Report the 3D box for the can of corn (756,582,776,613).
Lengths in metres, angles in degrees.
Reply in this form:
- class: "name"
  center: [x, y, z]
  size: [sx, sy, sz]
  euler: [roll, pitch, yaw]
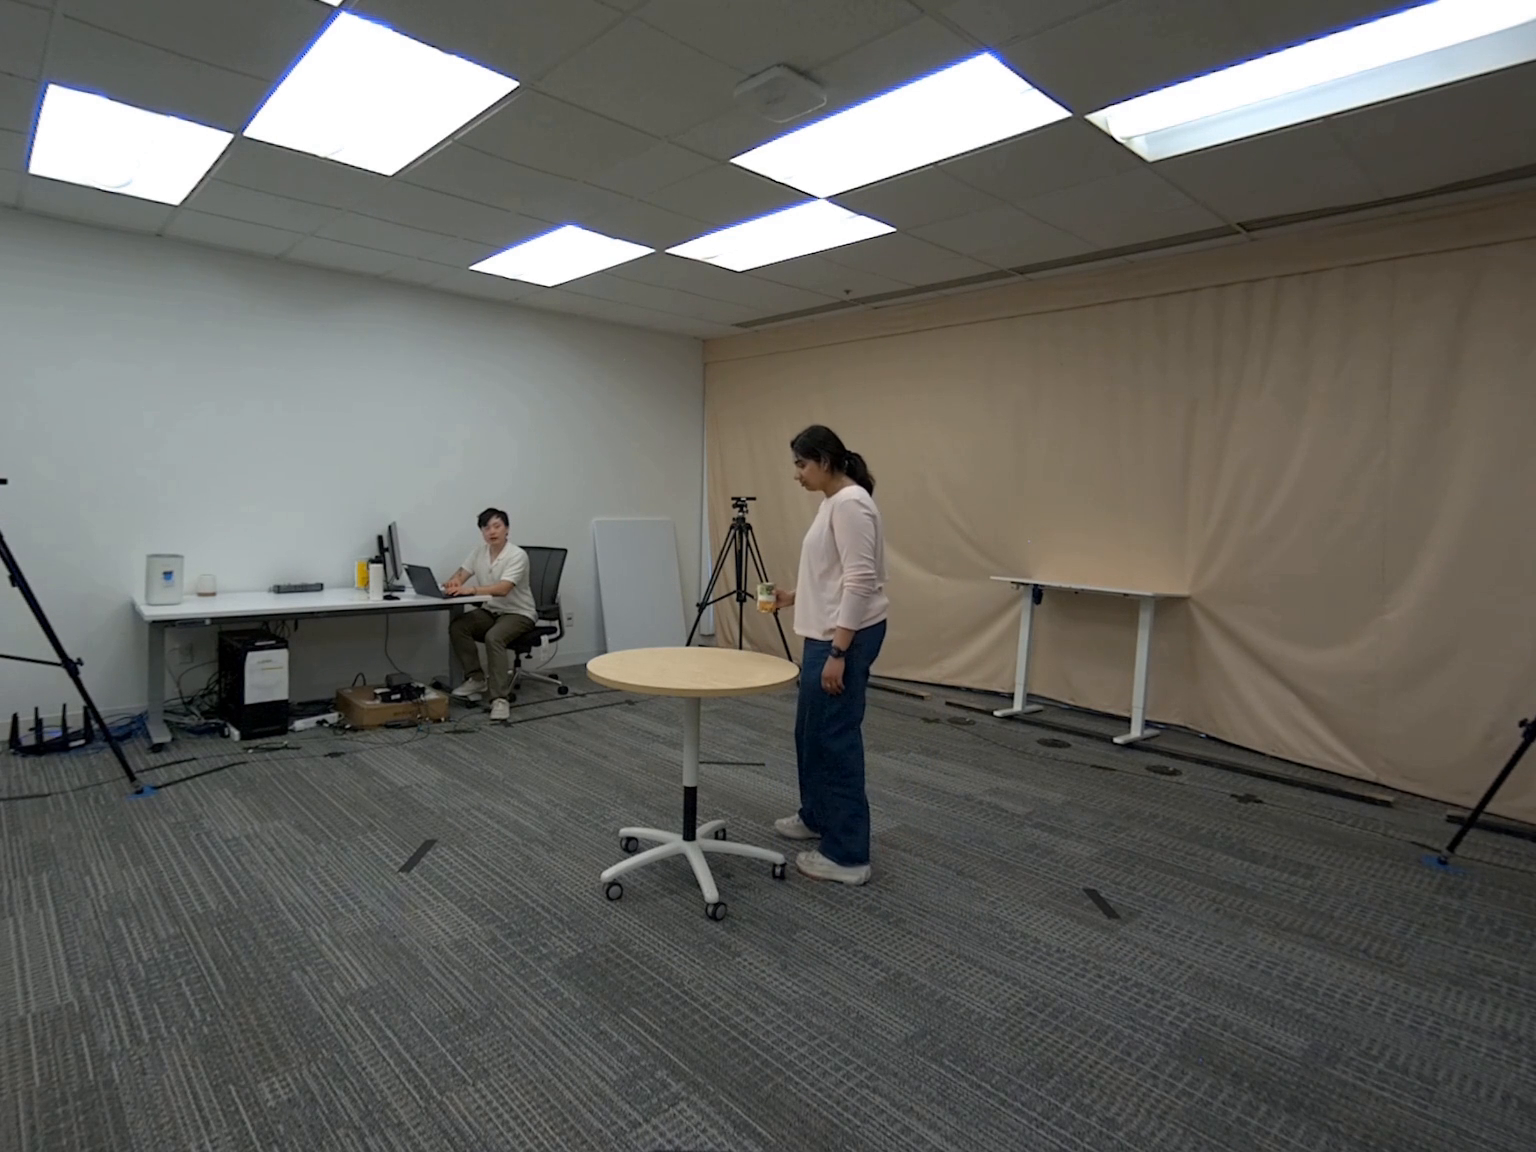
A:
- class: "can of corn"
  center: [-0.011, 0.087, 3.330]
  size: [0.074, 0.111, 0.074]
  euler: [2, -1, -1]
